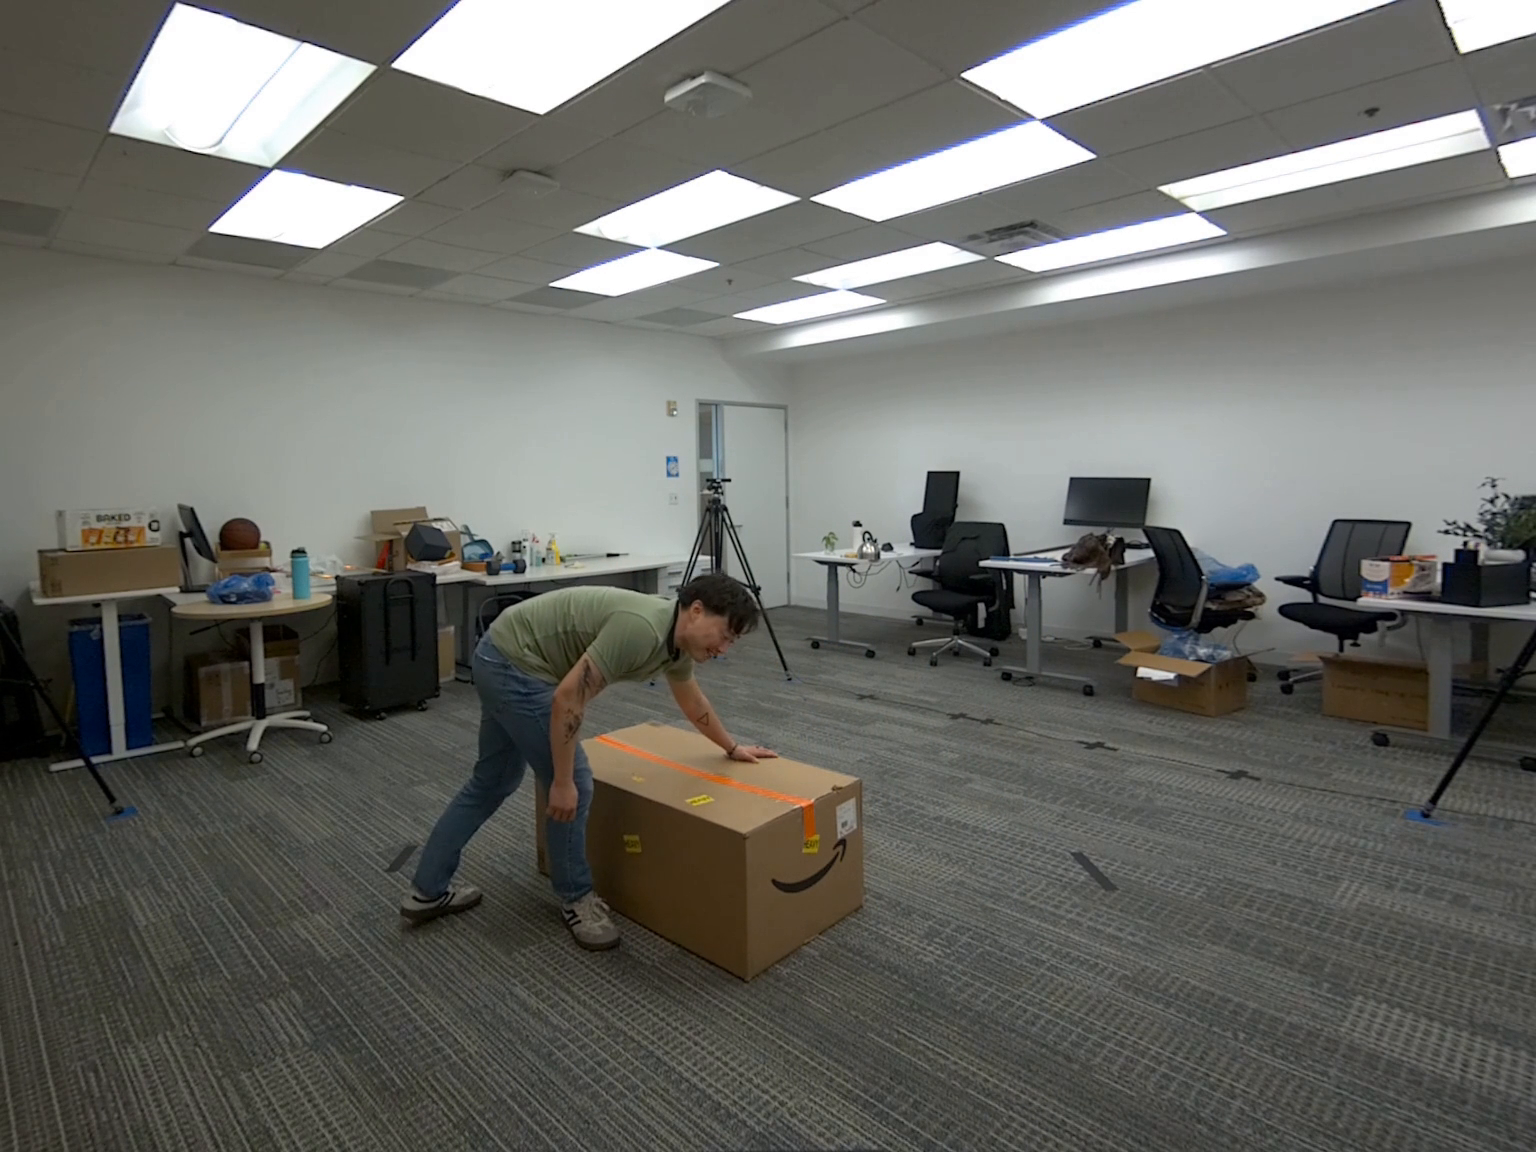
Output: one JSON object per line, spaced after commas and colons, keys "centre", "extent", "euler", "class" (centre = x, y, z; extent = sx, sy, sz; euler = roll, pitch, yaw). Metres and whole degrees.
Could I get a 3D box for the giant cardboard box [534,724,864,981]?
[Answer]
{"centre": [-0.258, 0.857, 2.921], "extent": [1.058, 0.424, 0.563], "euler": [5, 8, 42], "class": "giant cardboard box"}
